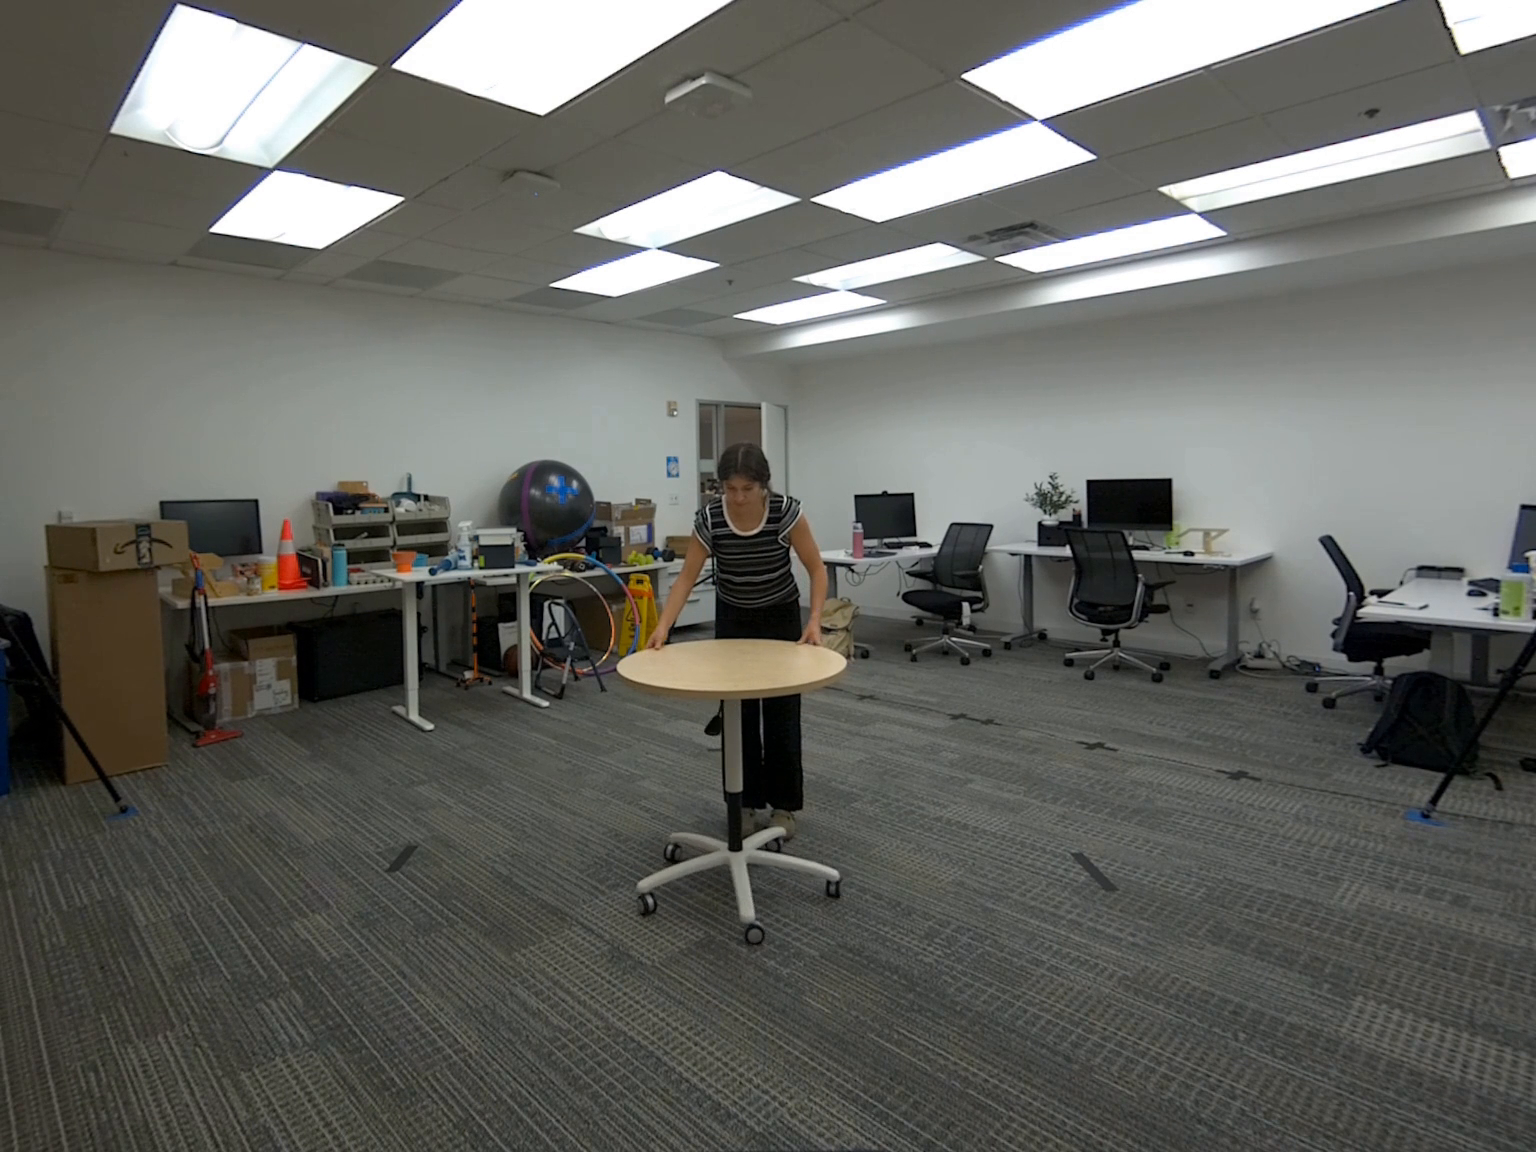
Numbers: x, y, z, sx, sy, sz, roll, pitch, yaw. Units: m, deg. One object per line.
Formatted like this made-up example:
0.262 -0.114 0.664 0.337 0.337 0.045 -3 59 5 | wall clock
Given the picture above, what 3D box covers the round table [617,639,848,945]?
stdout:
-0.126 0.677 2.899 0.784 0.783 0.789 -1 5 -2 | round table
